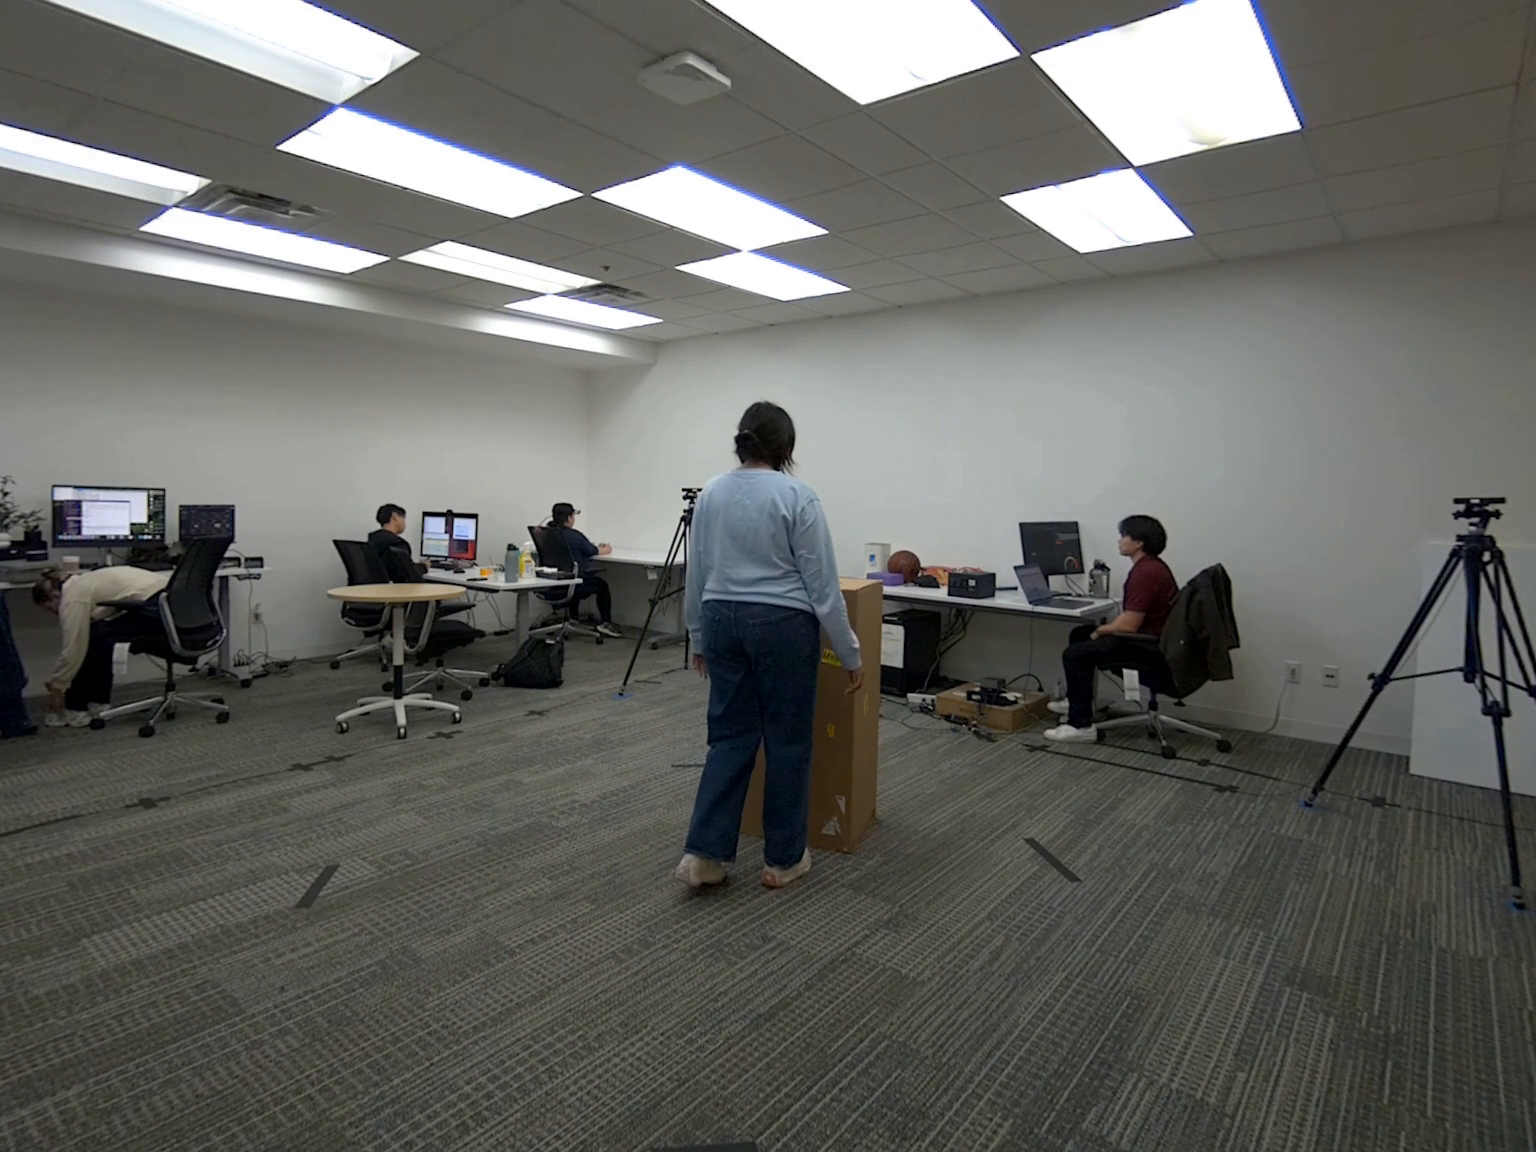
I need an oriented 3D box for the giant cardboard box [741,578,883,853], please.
[{"bbox_3d":[0.131,0.523,3.550,0.599,1.024,0.437,3,4,24],"label":"giant cardboard box"}]
